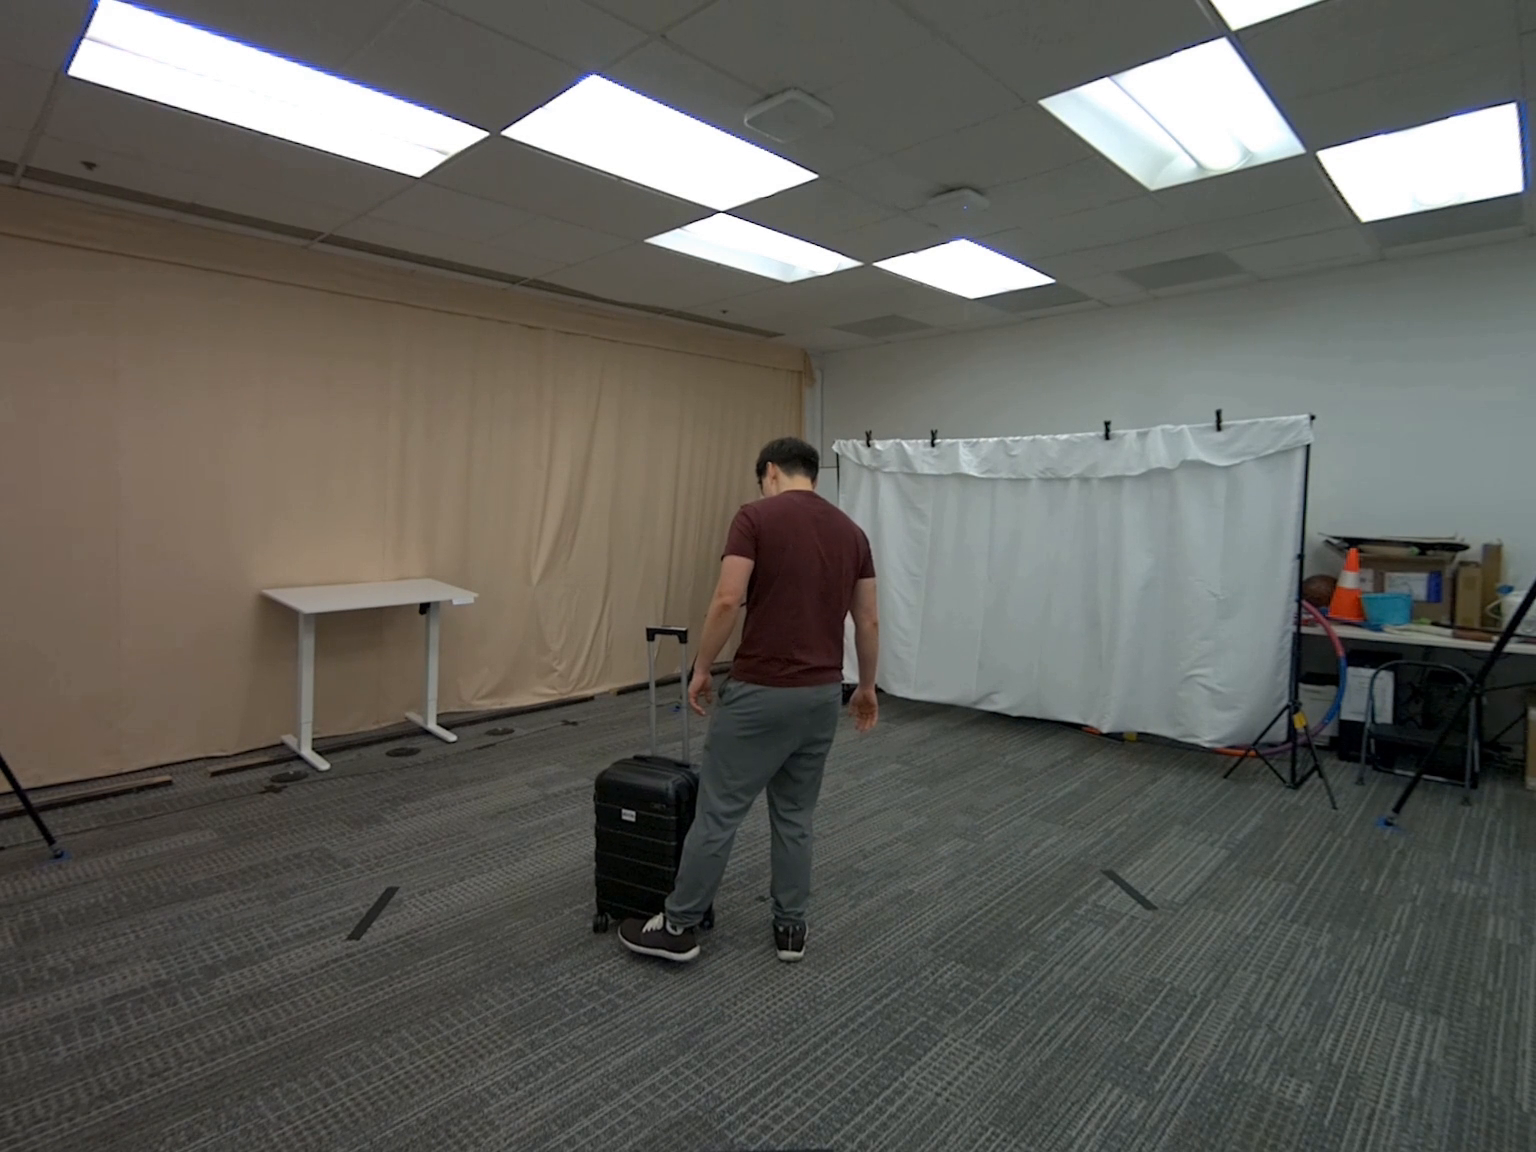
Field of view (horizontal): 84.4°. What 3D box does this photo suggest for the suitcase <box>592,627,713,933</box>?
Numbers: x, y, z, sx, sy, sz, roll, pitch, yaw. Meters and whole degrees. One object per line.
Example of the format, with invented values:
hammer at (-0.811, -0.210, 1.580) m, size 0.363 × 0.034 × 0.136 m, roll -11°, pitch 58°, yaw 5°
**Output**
suitcase at (-0.377, 0.682, 2.774) m, size 0.394 × 0.976 × 0.251 m, roll 0°, pitch 4°, yaw 28°
